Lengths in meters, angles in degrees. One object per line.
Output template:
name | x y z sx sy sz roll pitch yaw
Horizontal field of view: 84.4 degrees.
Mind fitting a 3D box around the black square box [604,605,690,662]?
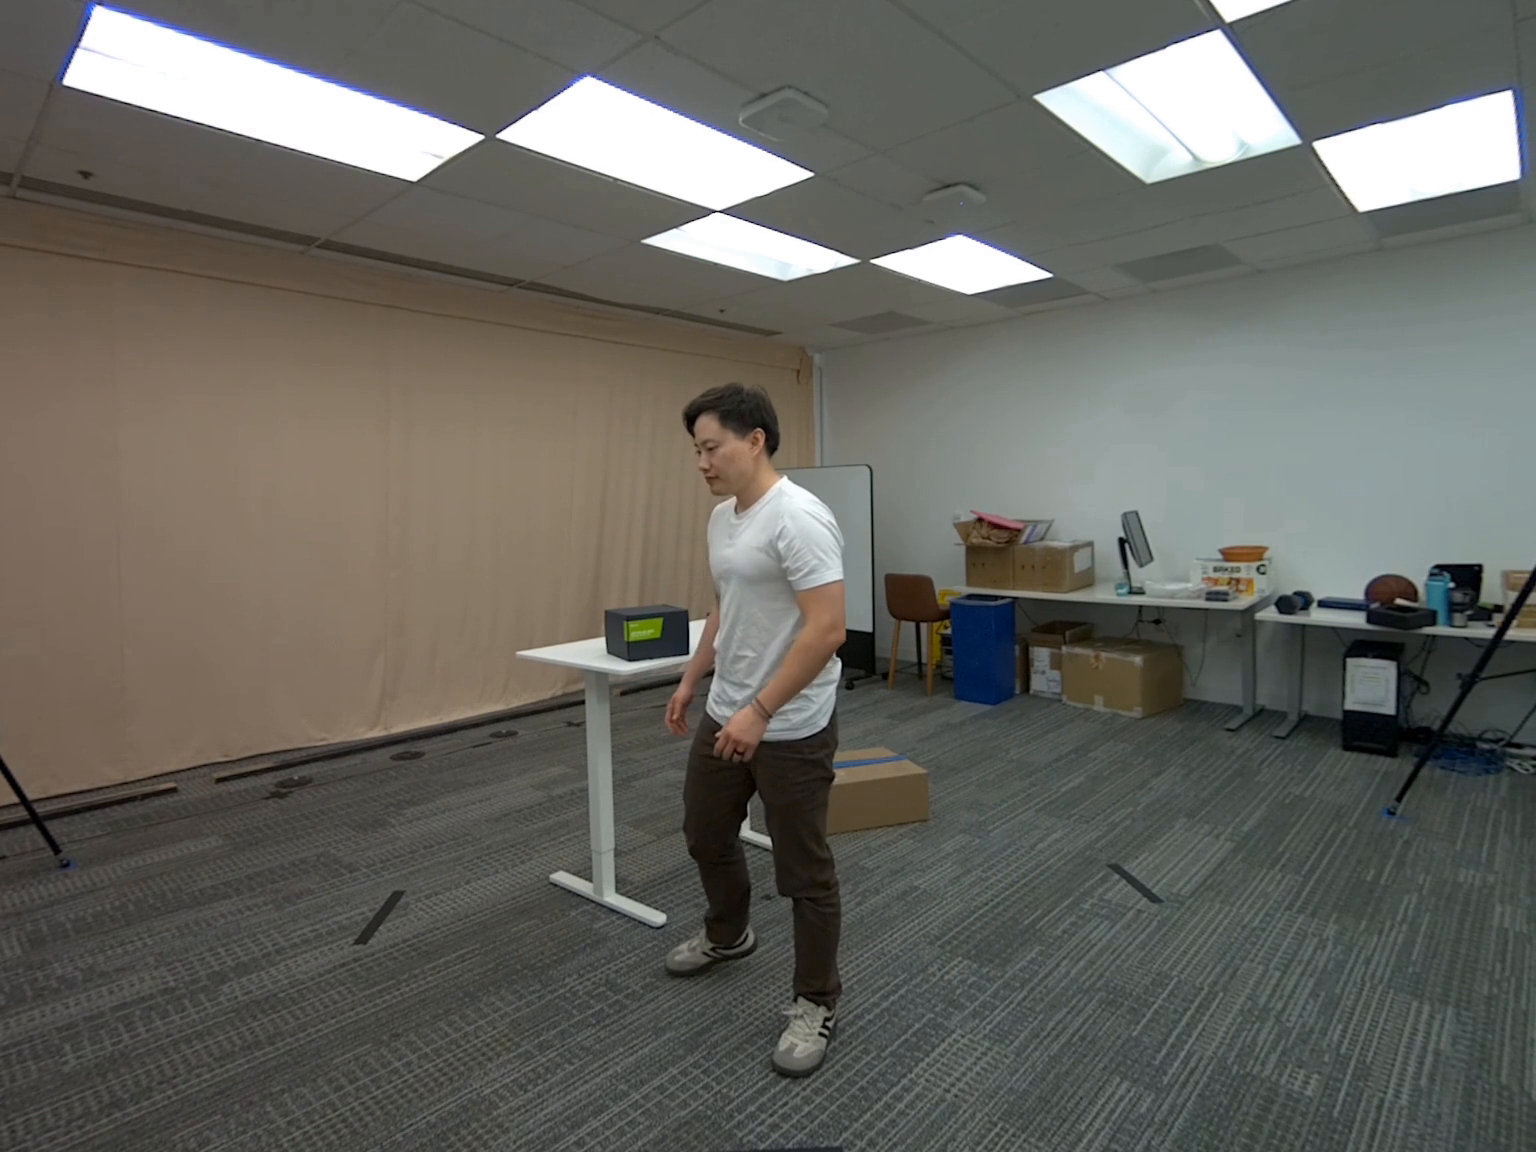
black square box | -0.419 0.194 2.923 0.222 0.155 0.223 -4 5 -29
